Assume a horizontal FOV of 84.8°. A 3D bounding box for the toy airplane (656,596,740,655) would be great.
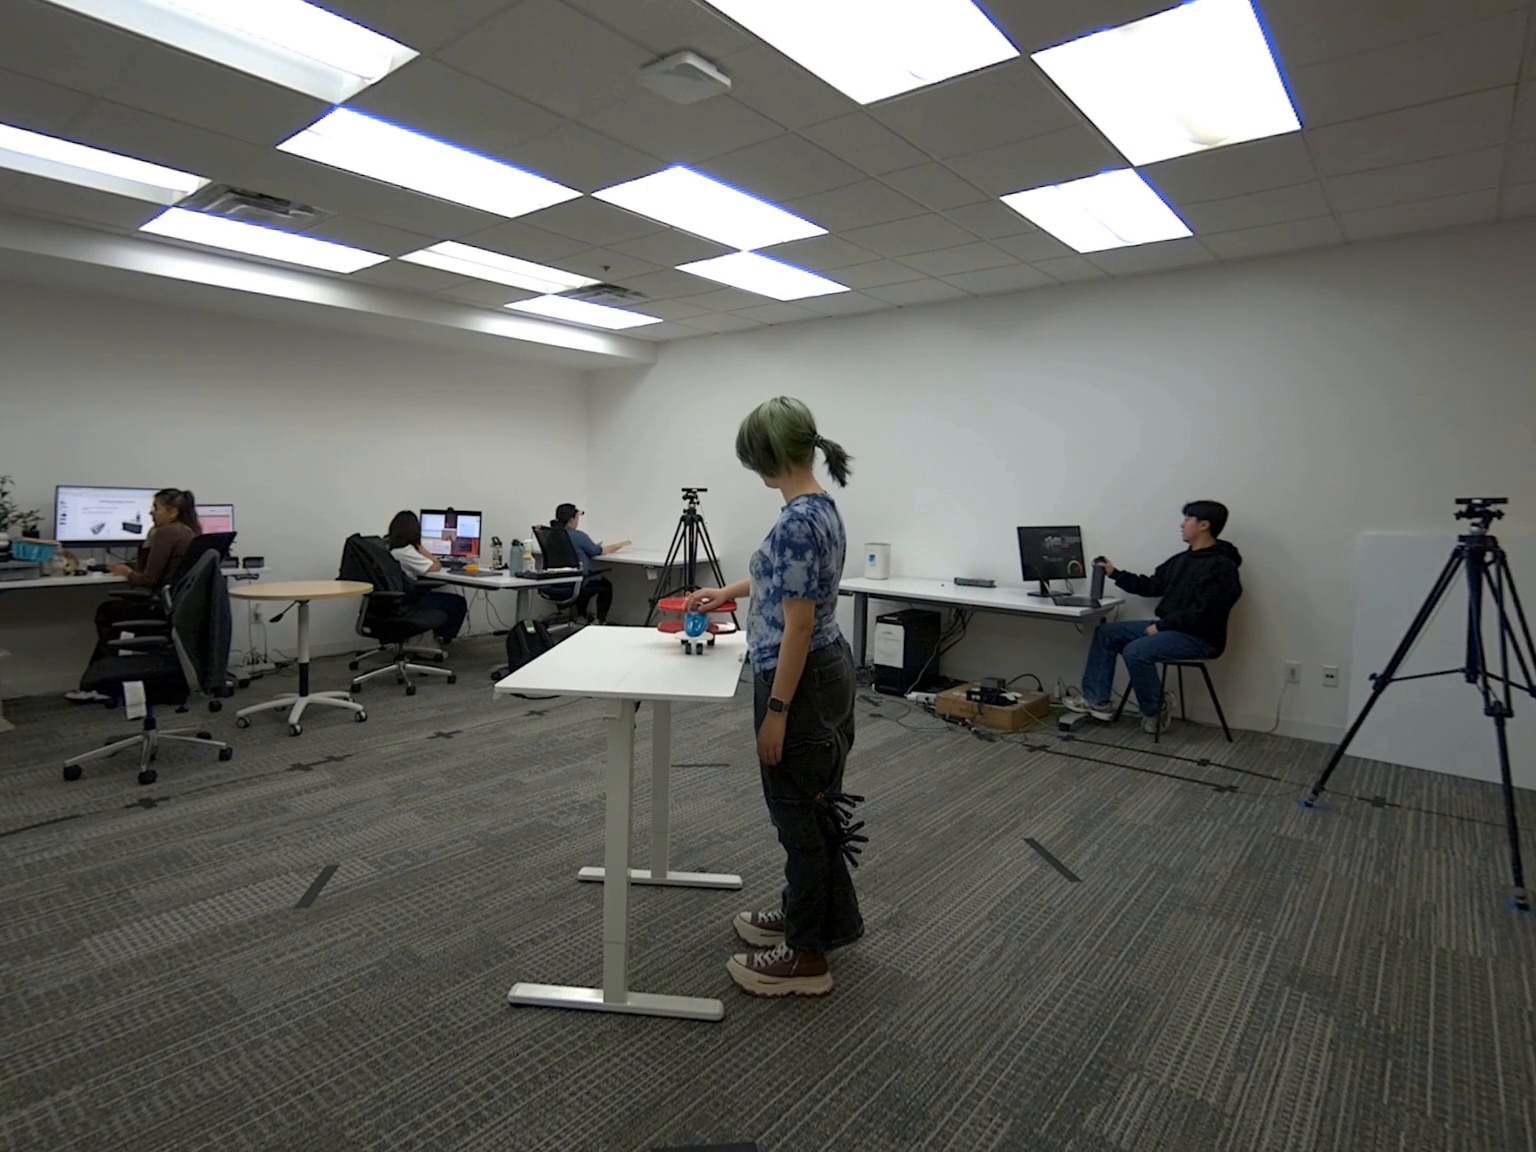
[{"bbox_3d":[-0.215,0.156,2.696,0.244,0.156,0.267,0,4,-29],"label":"toy airplane"}]
